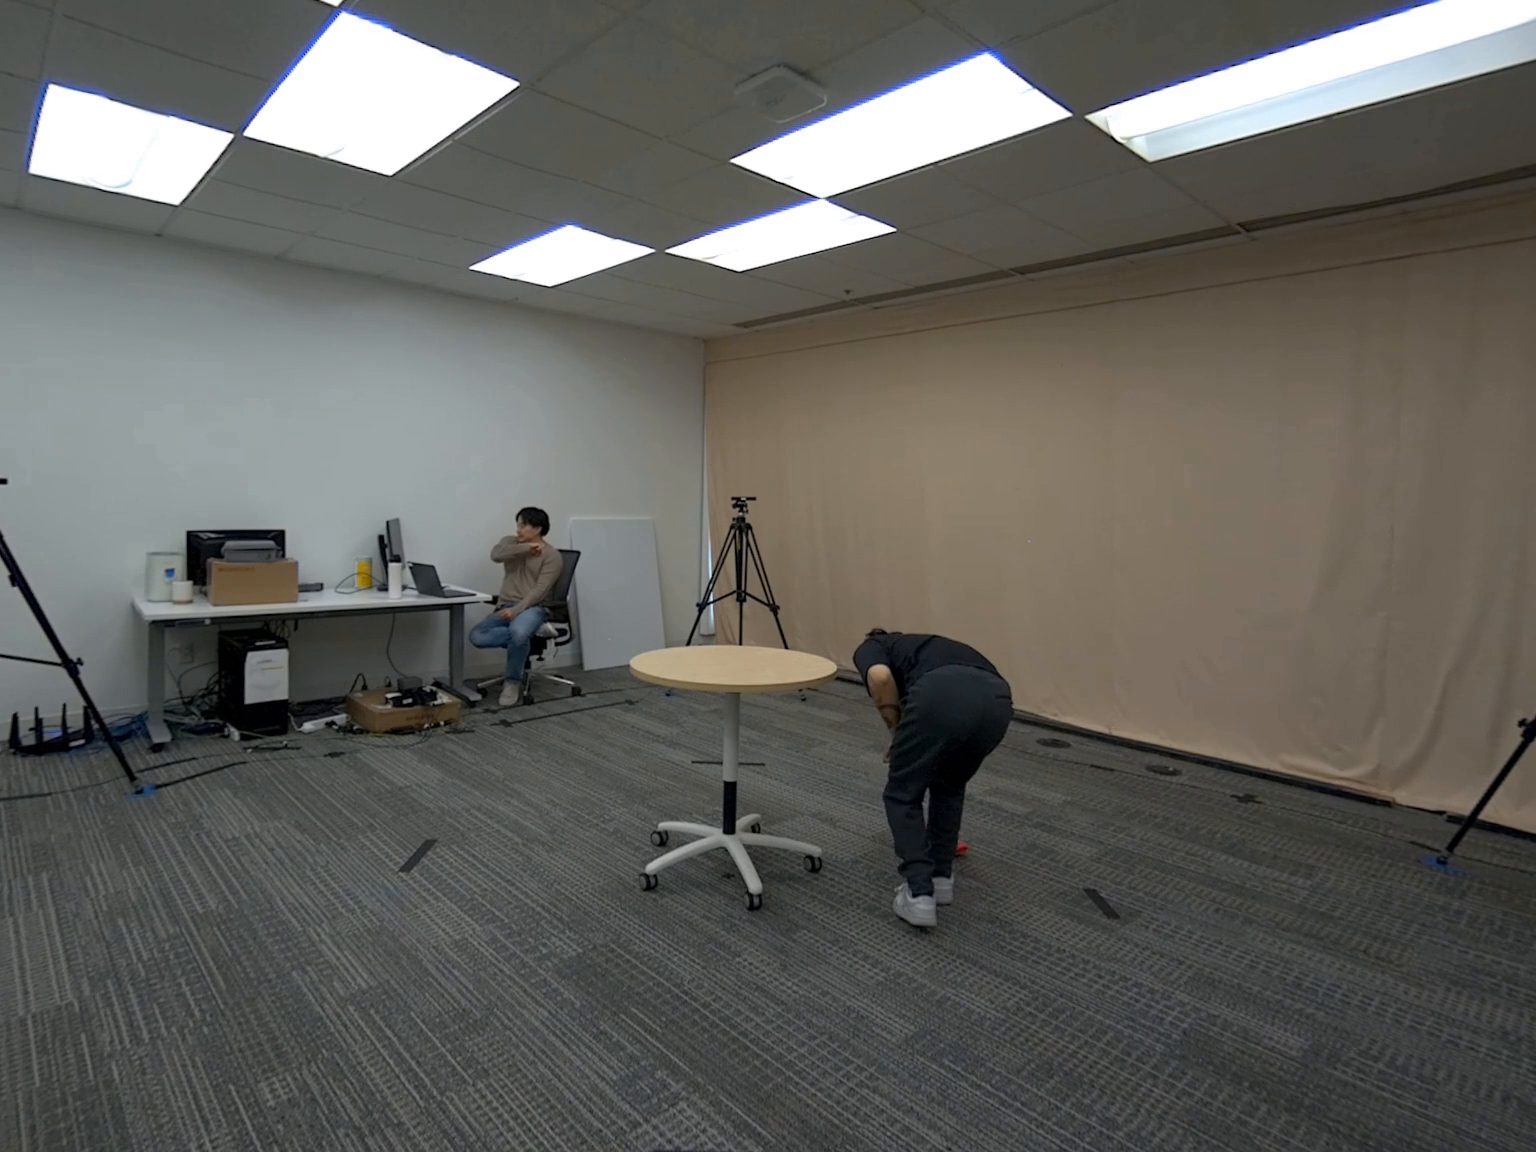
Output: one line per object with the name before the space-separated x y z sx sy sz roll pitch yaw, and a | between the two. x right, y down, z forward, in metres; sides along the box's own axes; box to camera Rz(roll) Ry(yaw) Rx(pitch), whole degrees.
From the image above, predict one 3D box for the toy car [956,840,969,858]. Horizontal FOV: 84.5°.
toy car | 0.695 1.078 3.390 0.127 0.083 0.259 0 -5 -31
